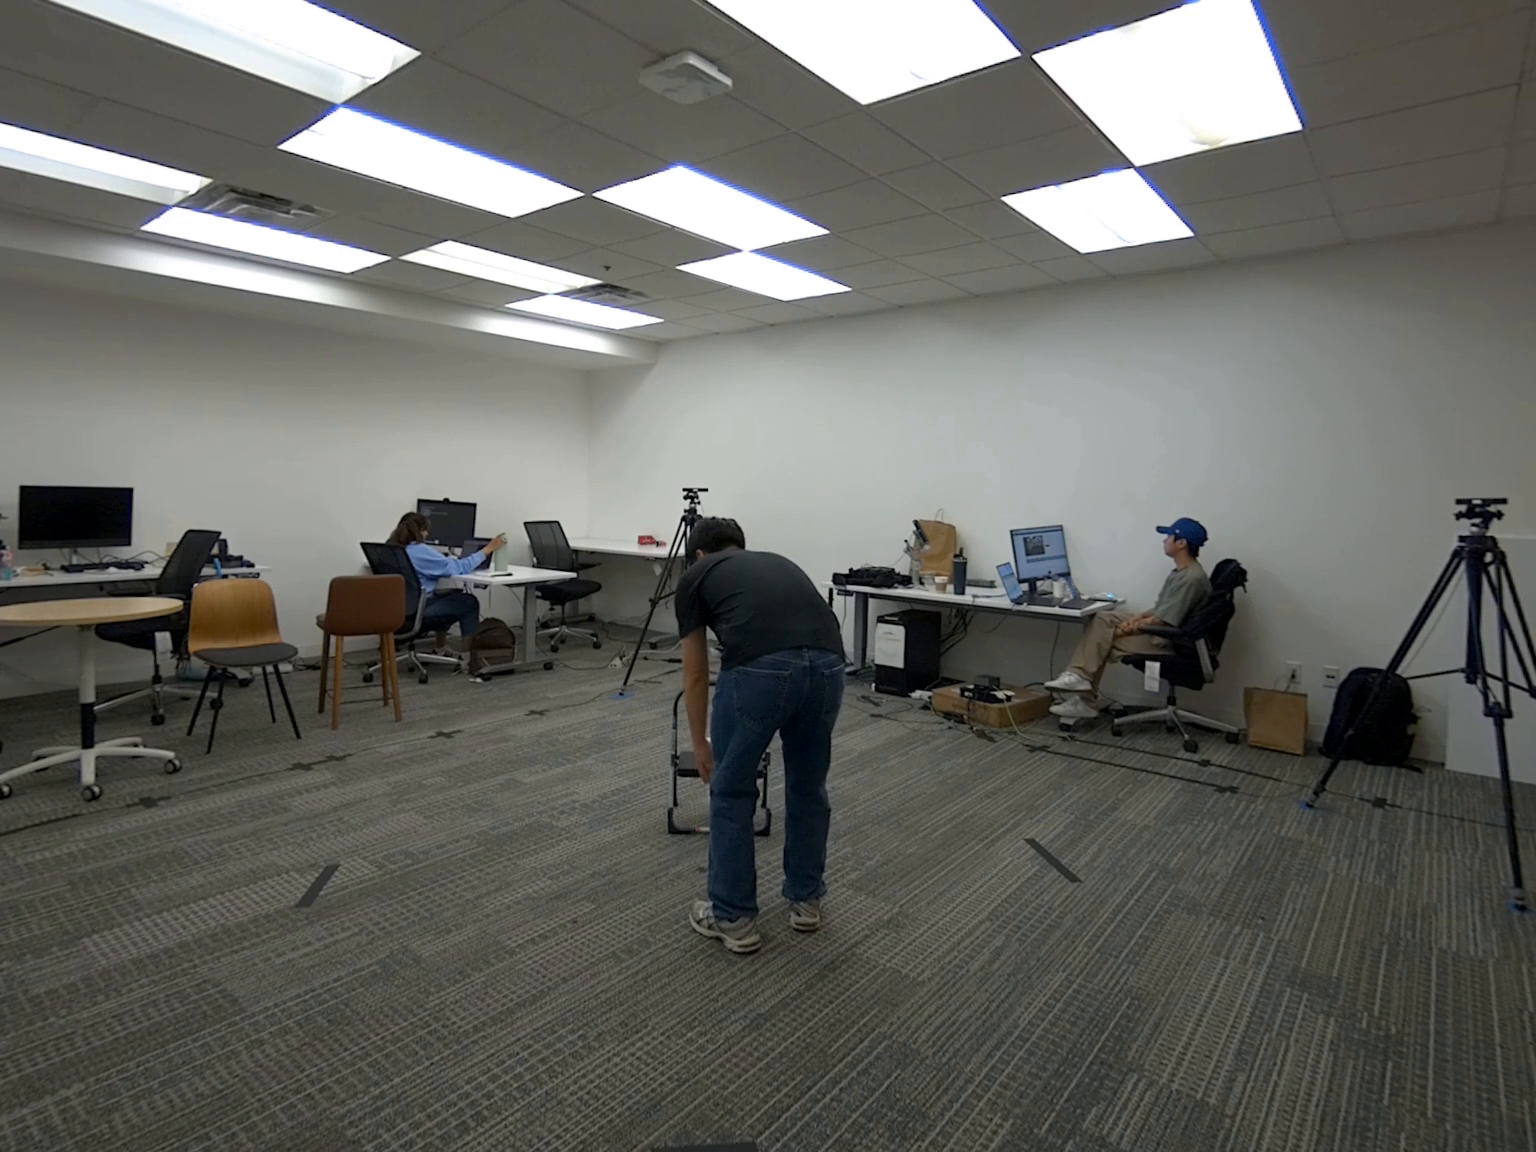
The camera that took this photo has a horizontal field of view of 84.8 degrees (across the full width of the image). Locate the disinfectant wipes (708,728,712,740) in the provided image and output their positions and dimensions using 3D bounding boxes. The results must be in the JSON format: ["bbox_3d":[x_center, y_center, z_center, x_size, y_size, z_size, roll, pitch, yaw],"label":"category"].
[{"bbox_3d":[-0.169,0.671,2.986,0.117,0.219,0.117,-5,-6,-2],"label":"disinfectant wipes"}]
